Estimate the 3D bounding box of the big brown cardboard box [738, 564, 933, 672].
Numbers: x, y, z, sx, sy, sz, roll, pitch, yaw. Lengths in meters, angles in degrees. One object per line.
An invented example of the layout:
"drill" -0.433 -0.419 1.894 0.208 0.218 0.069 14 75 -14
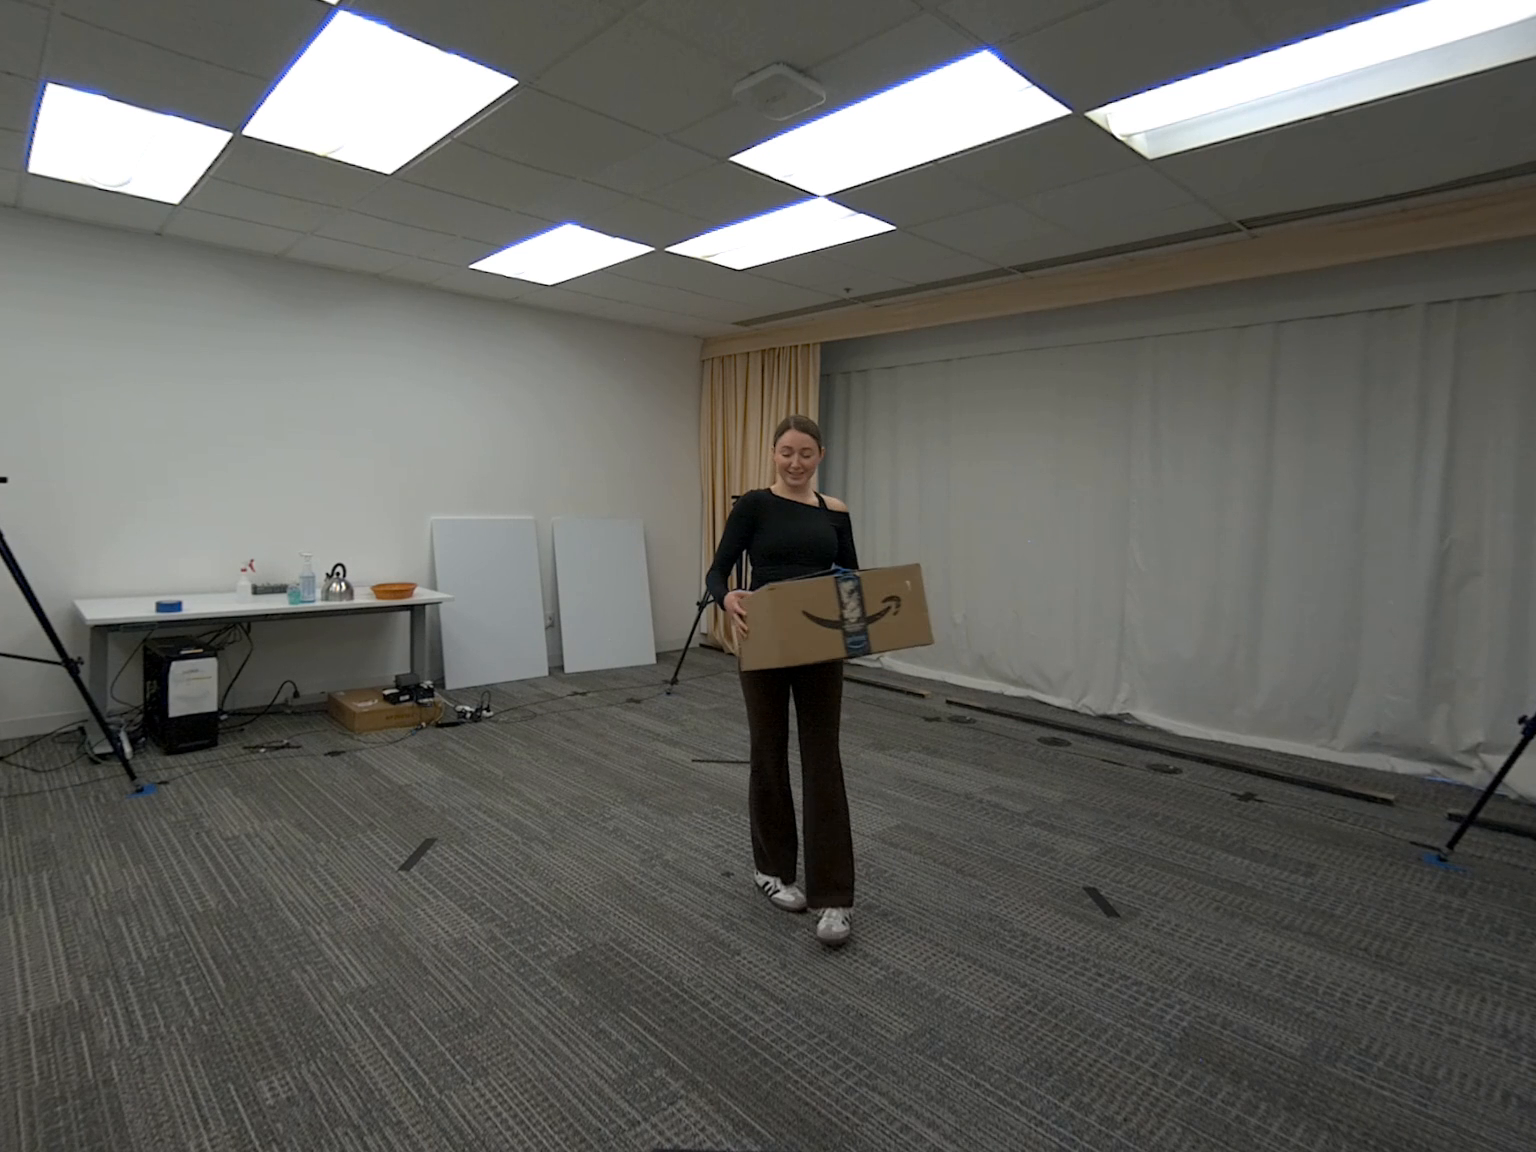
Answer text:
"big brown cardboard box" 0.152 0.135 2.420 0.414 0.235 0.590 -8 -6 -12
